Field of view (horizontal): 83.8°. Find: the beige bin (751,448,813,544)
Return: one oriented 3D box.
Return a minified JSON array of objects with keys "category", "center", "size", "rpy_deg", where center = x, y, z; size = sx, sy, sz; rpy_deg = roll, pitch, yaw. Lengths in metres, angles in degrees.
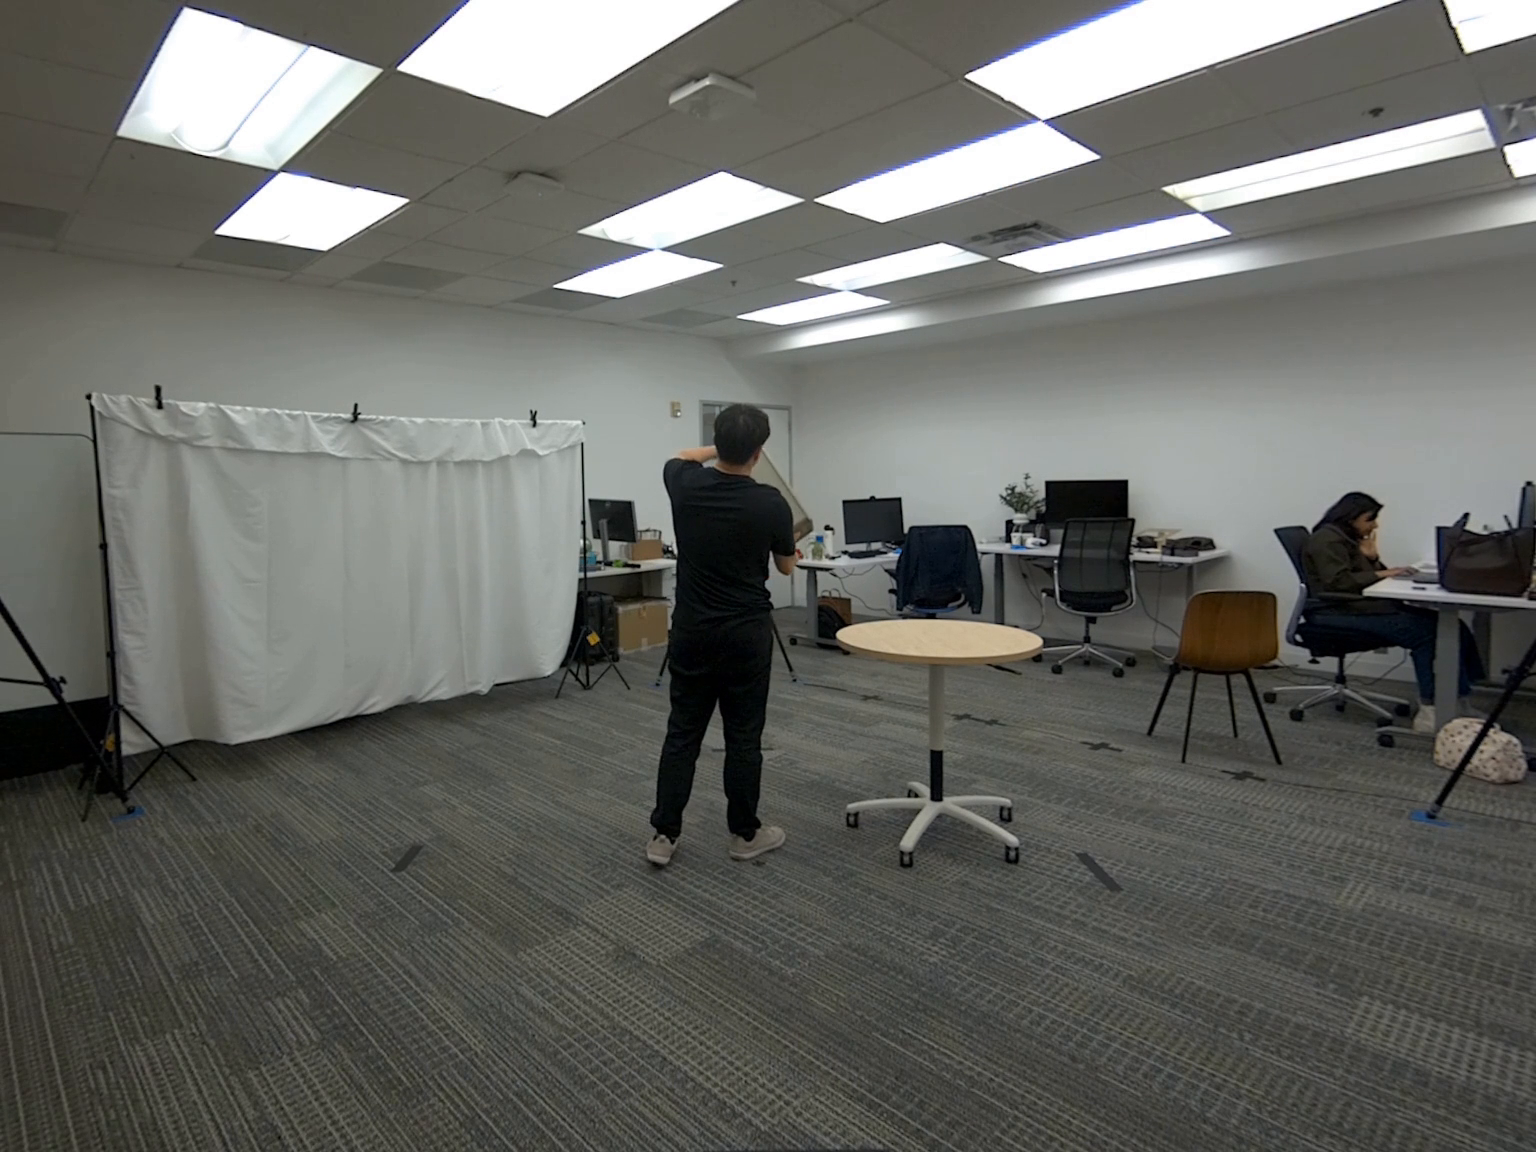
[{"category":"beige bin","center":[0.004,-0.336,3.609],"size":[0.189,0.428,0.372],"rpy_deg":[-33,-9,2]}]
